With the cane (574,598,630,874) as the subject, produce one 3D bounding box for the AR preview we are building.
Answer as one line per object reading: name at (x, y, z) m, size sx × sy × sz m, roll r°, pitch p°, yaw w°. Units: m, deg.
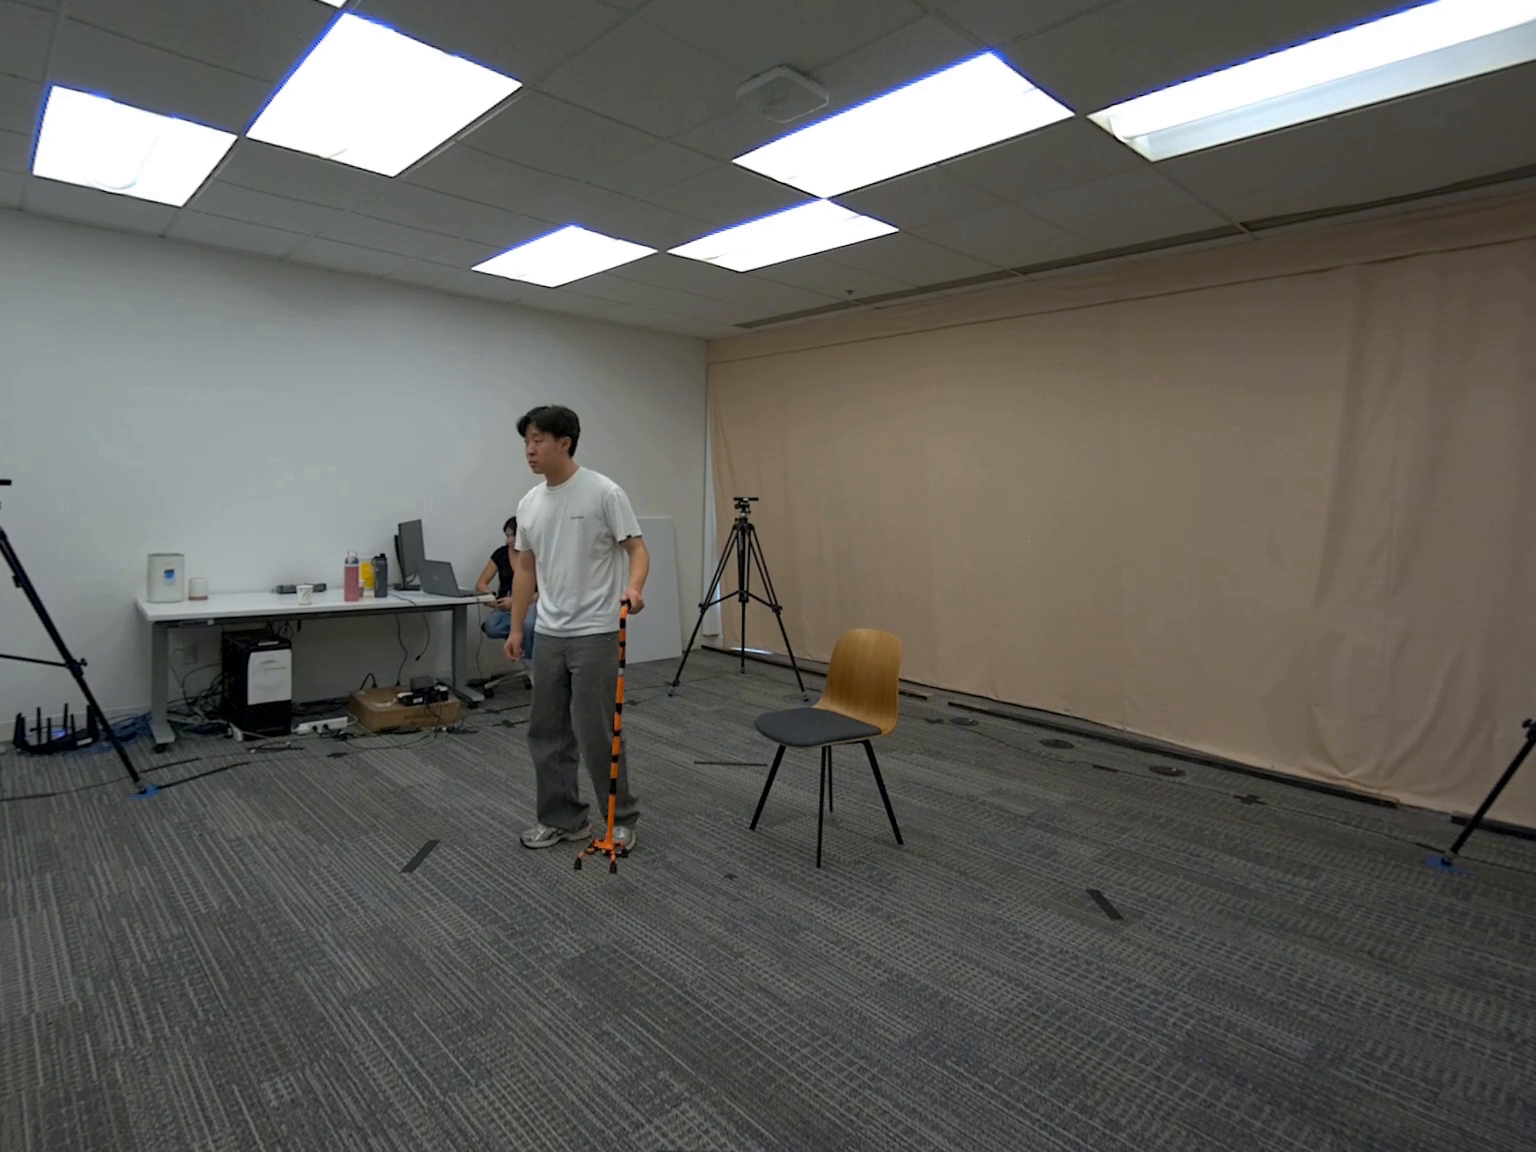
cane at (-0.551, 0.563, 2.943) m, size 0.152 × 0.910 × 0.205 m, roll 4°, pitch -3°, yaw 6°
